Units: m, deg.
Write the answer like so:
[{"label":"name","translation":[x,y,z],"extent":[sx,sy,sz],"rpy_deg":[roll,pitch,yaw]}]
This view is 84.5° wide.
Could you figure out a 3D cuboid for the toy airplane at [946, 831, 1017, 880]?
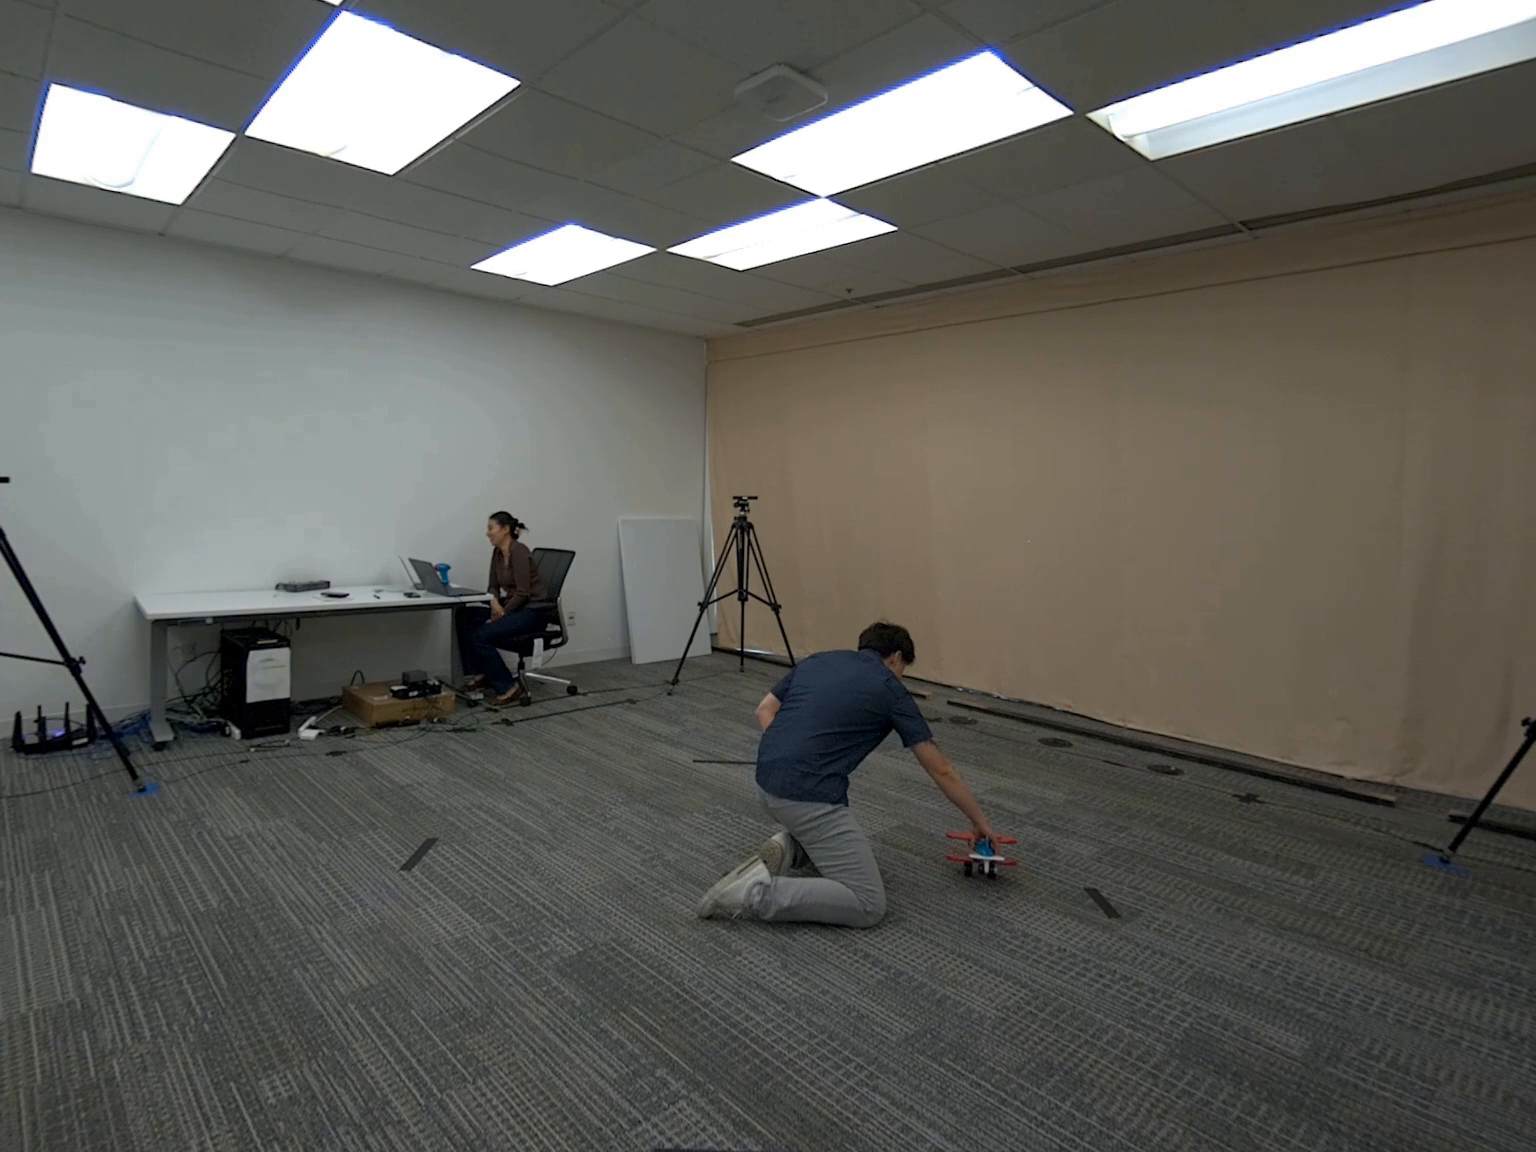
[{"label":"toy airplane","translation":[0.798,1.027,3.097],"extent":[0.247,0.158,0.260],"rpy_deg":[14,-24,-18]}]
